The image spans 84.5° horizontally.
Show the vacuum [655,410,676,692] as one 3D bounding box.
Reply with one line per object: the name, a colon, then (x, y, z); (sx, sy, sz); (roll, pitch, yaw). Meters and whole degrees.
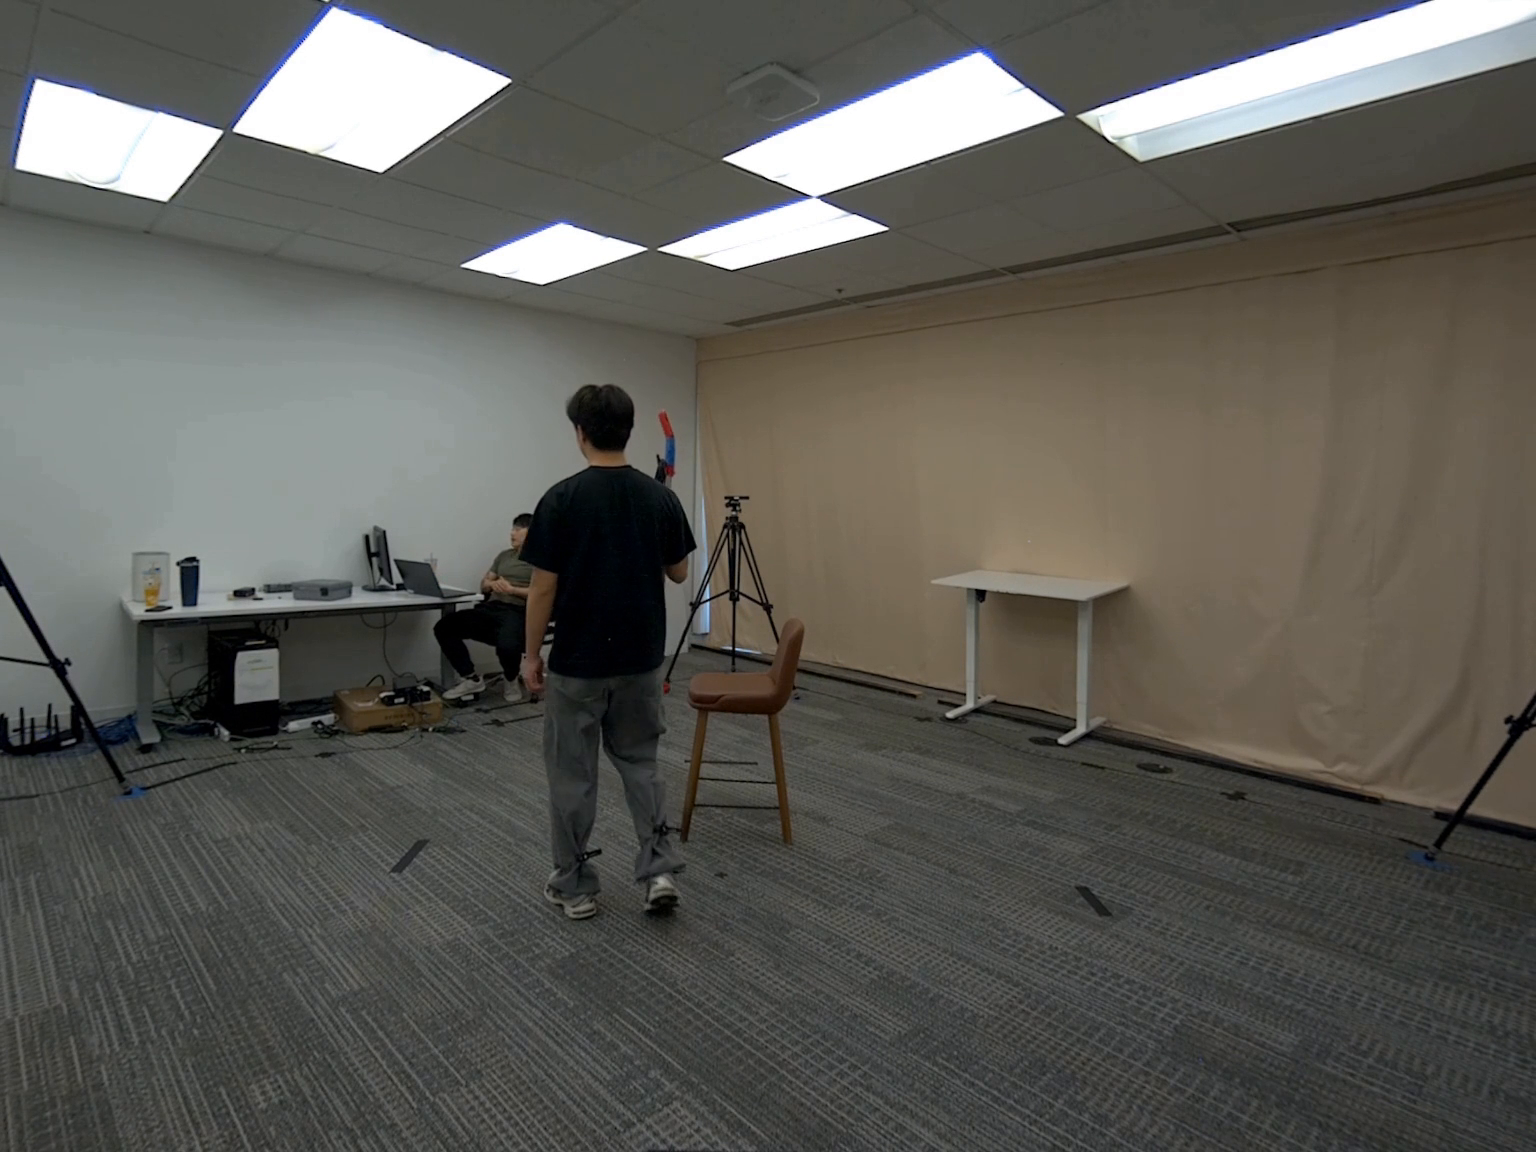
vacuum: (-0.439, -0.095, 3.195); (0.145, 1.045, 0.251); (5, 6, 10)
